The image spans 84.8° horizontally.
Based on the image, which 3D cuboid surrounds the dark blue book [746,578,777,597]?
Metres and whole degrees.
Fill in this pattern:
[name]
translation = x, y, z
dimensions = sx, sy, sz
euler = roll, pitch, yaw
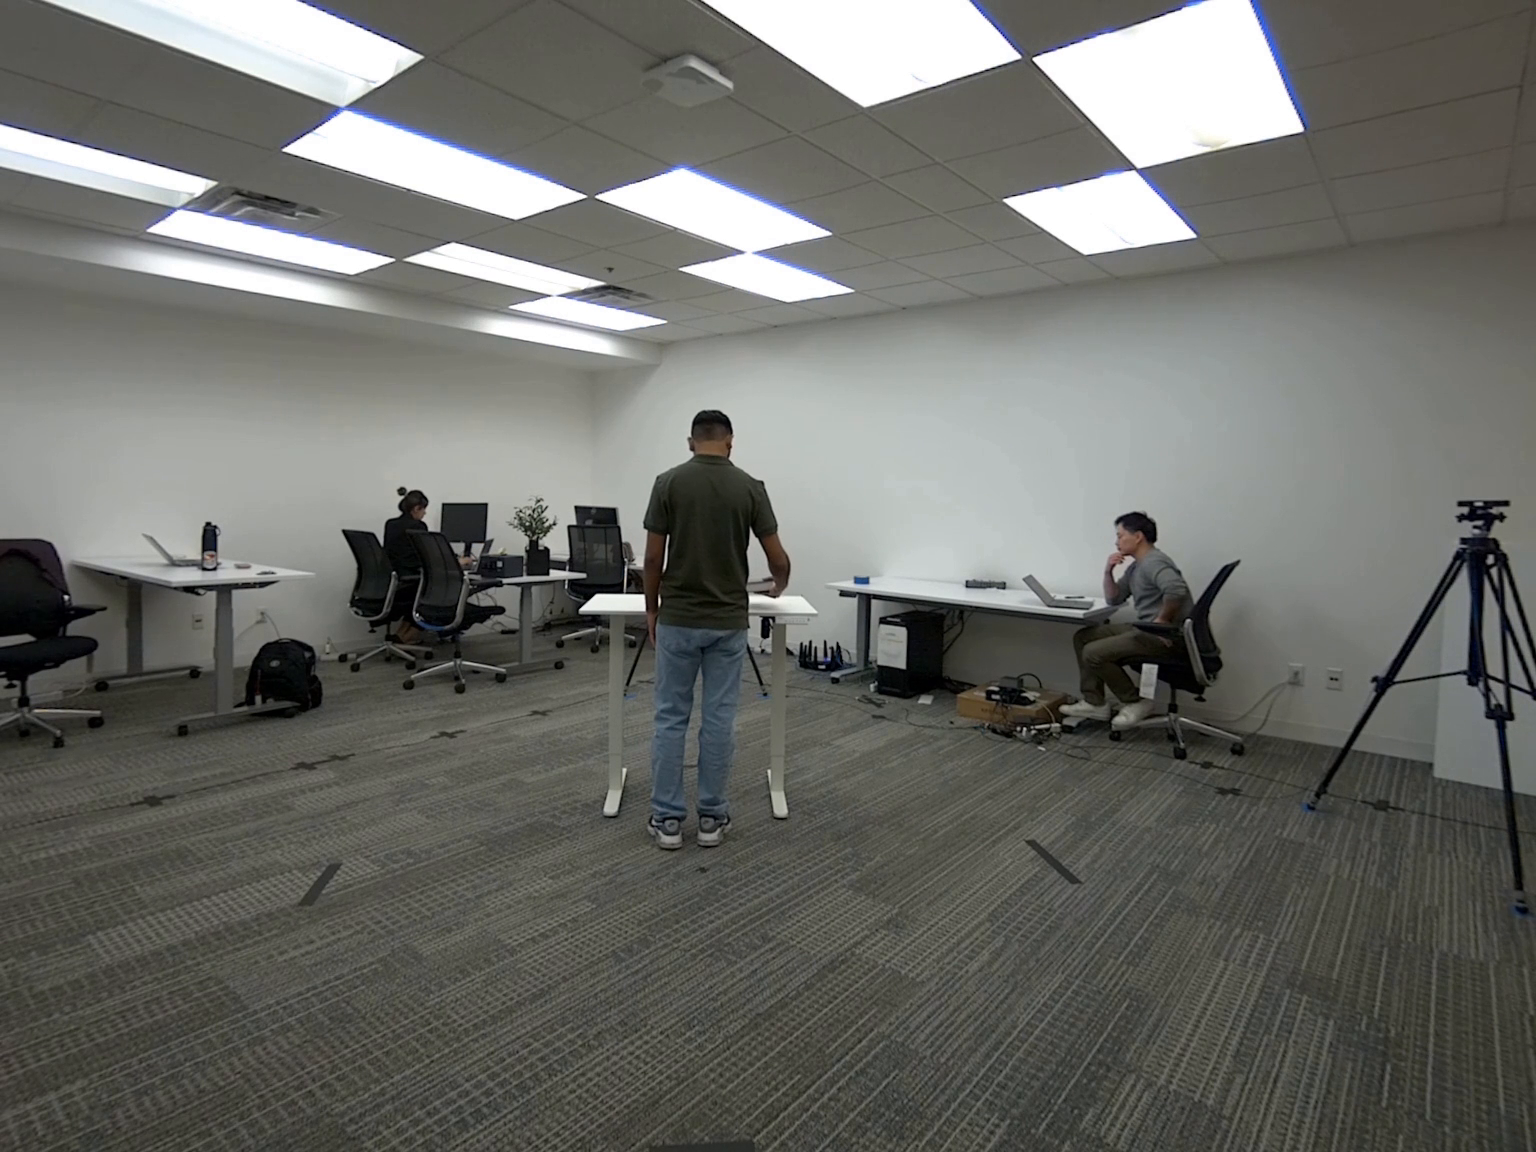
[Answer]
[dark blue book]
translation = -0.058, 0.038, 3.754
dimensions = 0.164, 0.045, 0.243
euler = -5, 2, 6
